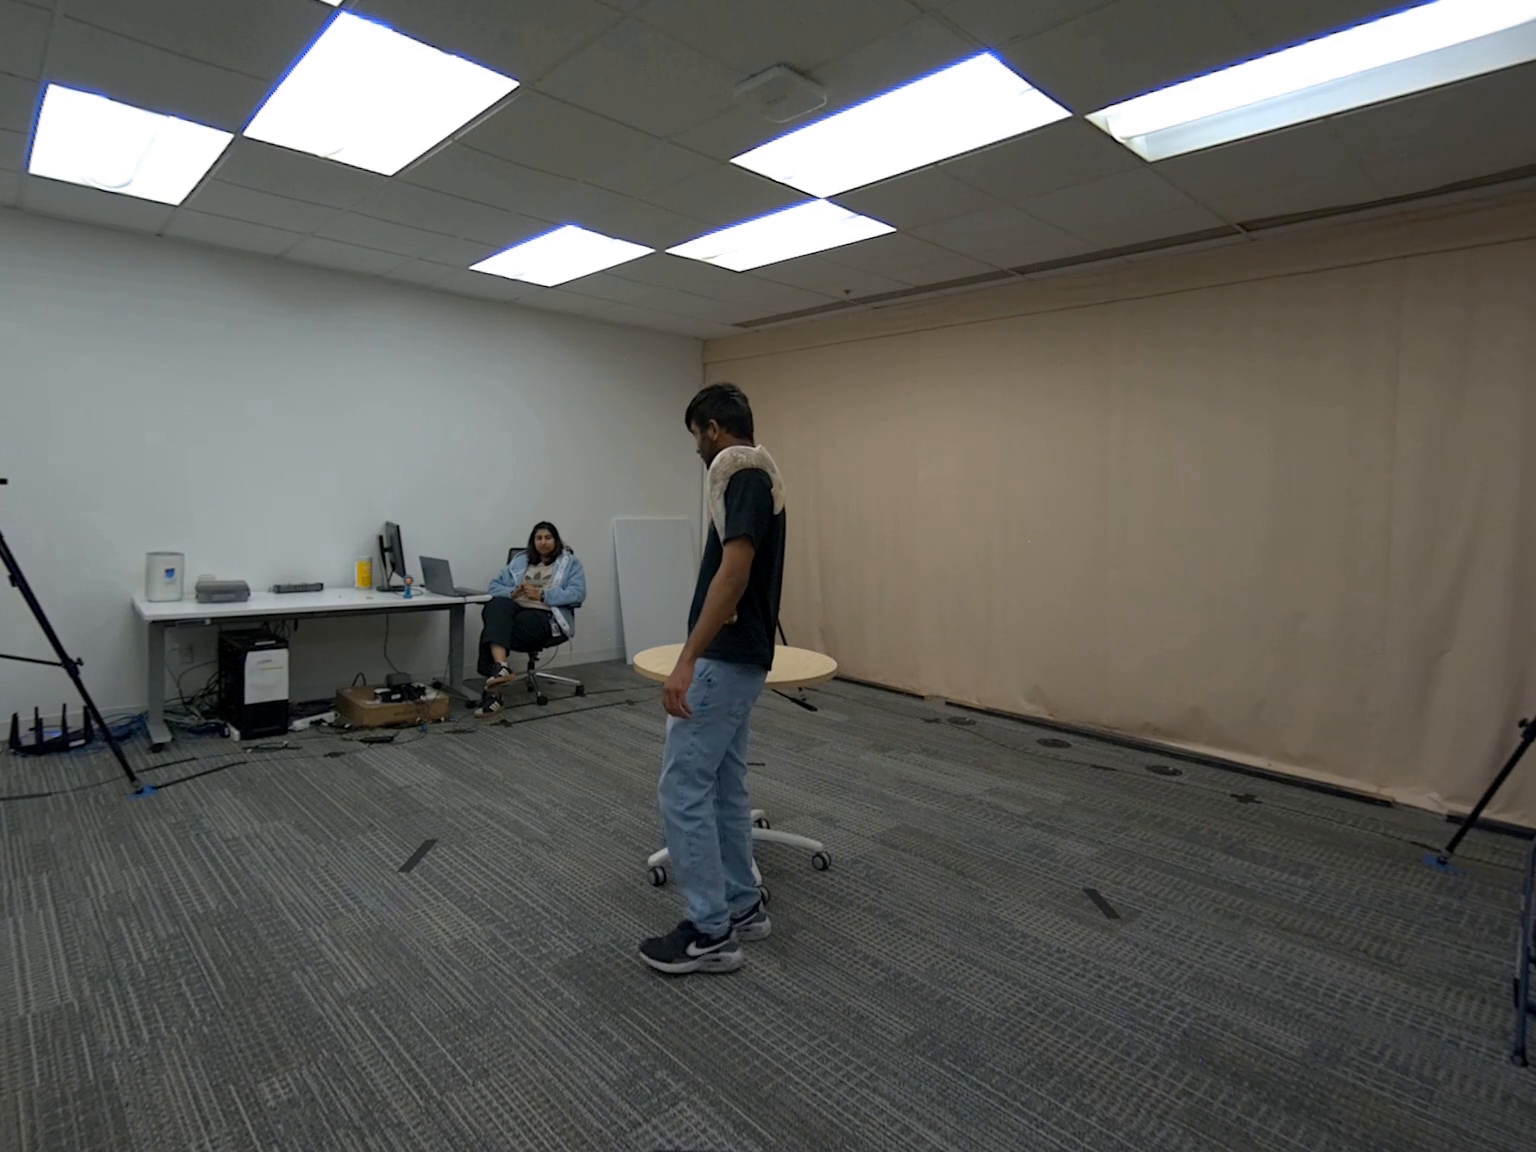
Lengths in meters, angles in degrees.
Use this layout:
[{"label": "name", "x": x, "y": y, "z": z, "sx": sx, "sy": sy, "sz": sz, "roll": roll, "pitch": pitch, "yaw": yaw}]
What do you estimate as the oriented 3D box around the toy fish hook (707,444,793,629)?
[{"label": "toy fish hook", "x": -0.053, "y": -0.110, "z": 2.374, "sx": 0.227, "sy": 0.506, "sz": 0.048, "roll": -1, "pitch": 1, "yaw": 13}]
